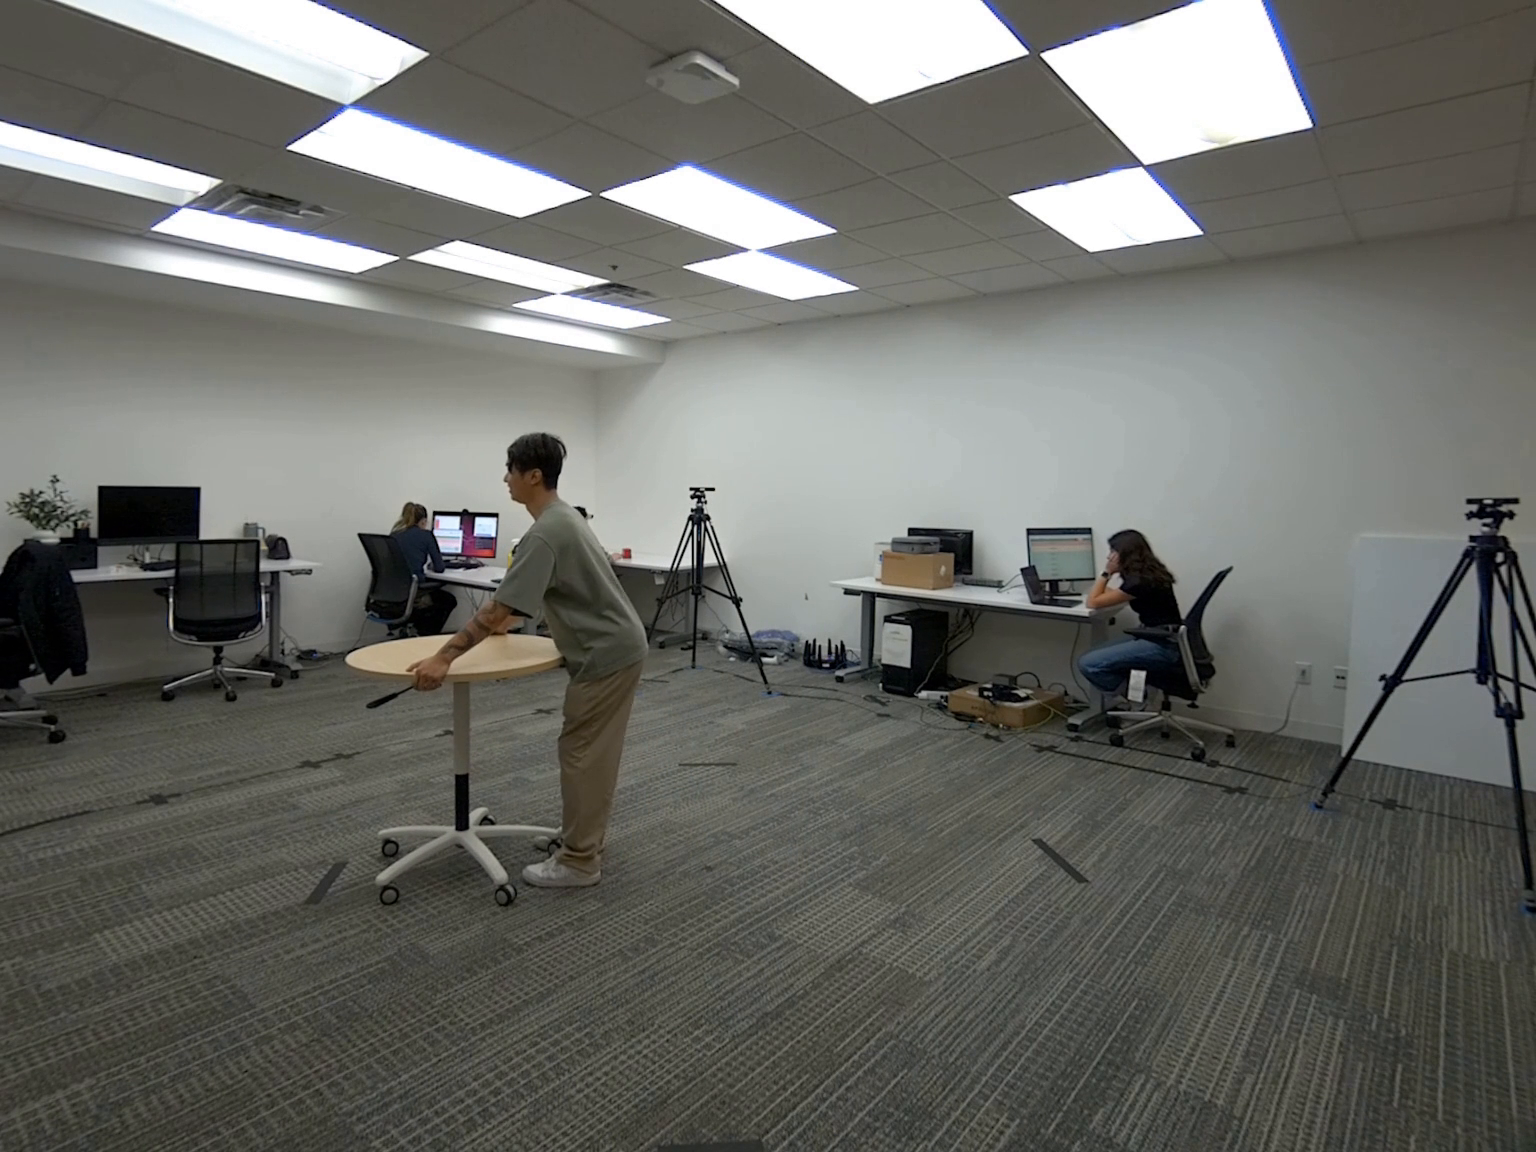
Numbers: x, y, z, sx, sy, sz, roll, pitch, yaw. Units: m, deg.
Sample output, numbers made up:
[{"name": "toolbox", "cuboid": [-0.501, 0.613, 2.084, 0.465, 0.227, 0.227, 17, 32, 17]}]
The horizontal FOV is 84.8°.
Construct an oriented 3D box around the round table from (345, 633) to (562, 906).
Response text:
[{"name": "round table", "cuboid": [-1.113, 0.659, 3.081, 0.784, 0.783, 0.789, 0, 5, -2]}]
